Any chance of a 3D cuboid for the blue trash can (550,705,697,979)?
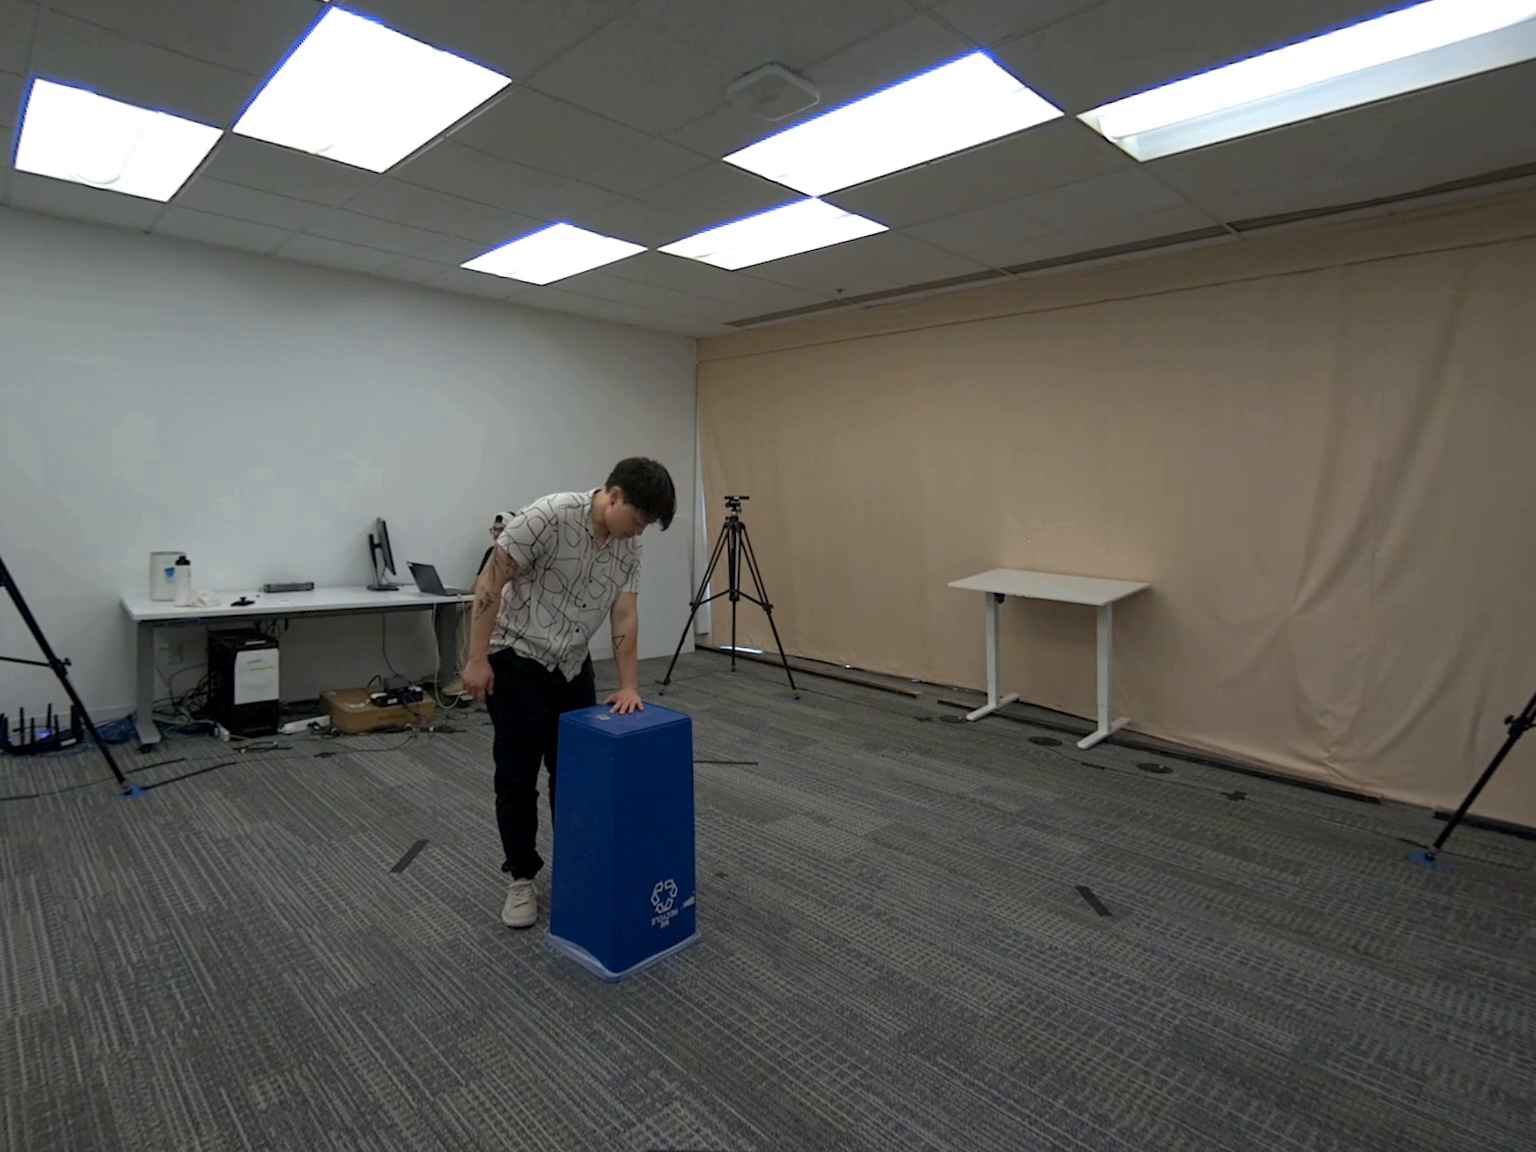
[{"bbox_3d":[-0.466,0.789,2.619,0.387,0.711,0.366,4,5,44],"label":"blue trash can"}]
